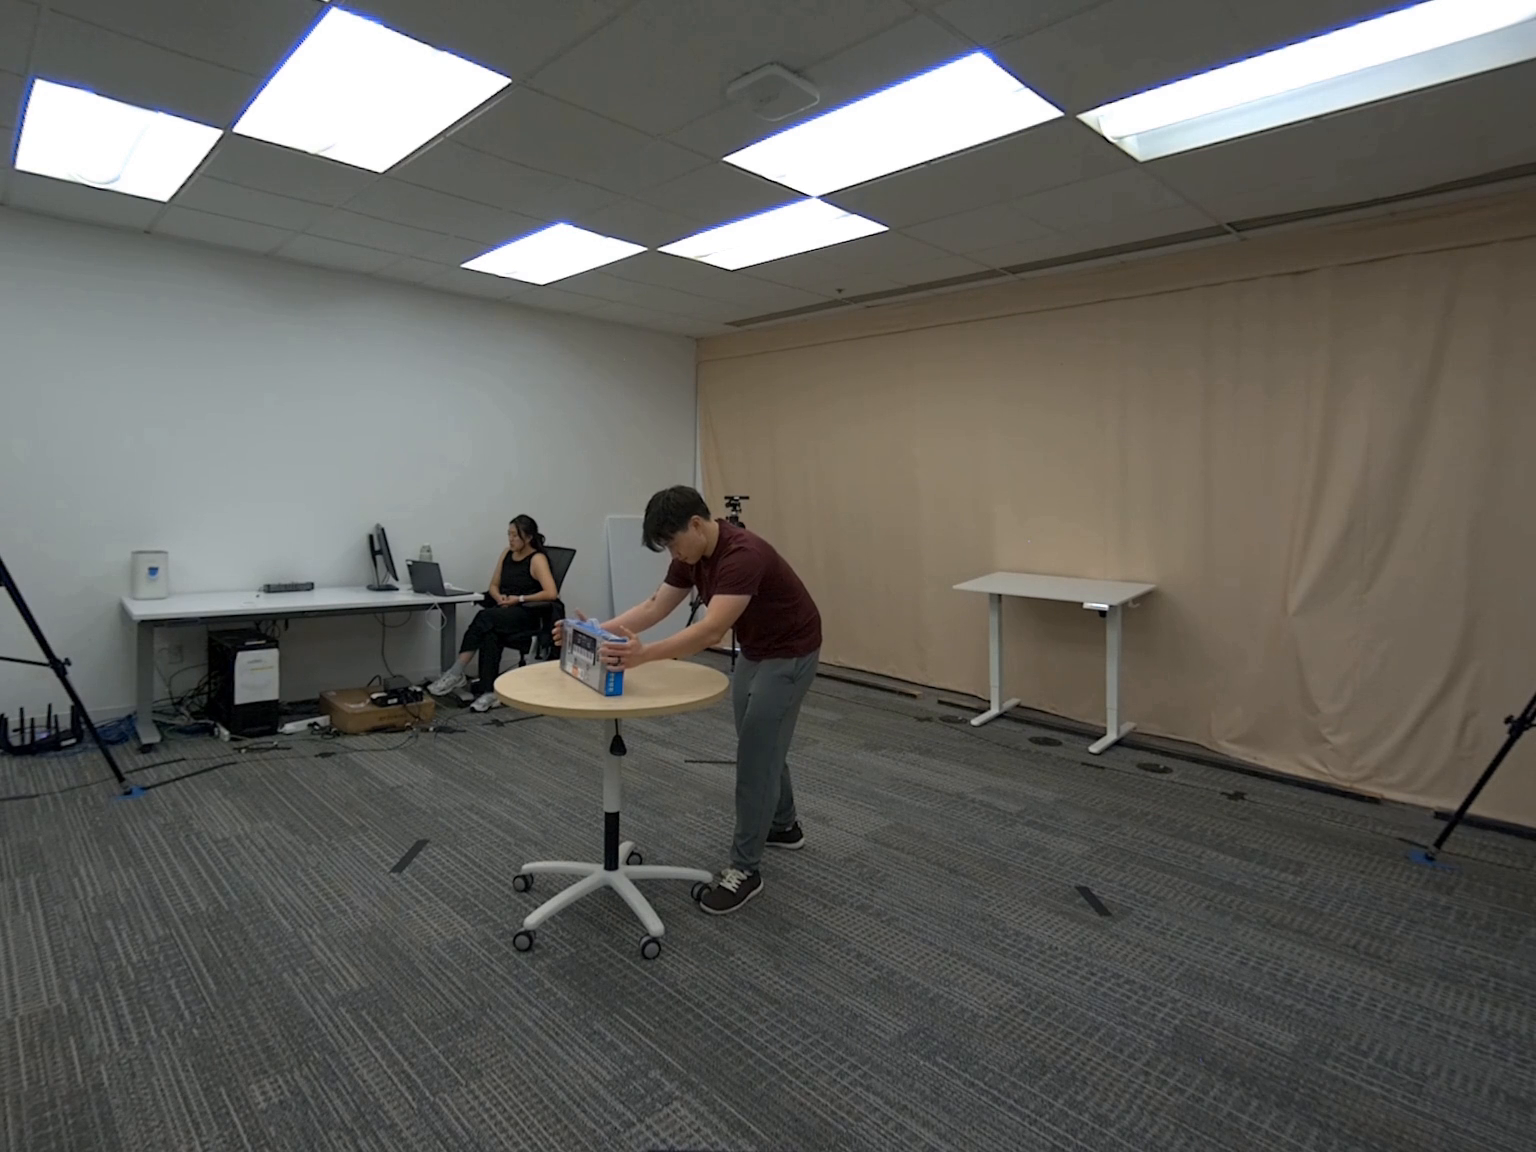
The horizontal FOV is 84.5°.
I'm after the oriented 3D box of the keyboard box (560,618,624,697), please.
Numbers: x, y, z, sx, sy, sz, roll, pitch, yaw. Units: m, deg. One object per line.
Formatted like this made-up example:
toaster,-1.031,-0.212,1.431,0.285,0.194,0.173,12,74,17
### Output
keyboard box,-0.590,0.266,2.746,0.058,0.175,0.447,1,5,-30
